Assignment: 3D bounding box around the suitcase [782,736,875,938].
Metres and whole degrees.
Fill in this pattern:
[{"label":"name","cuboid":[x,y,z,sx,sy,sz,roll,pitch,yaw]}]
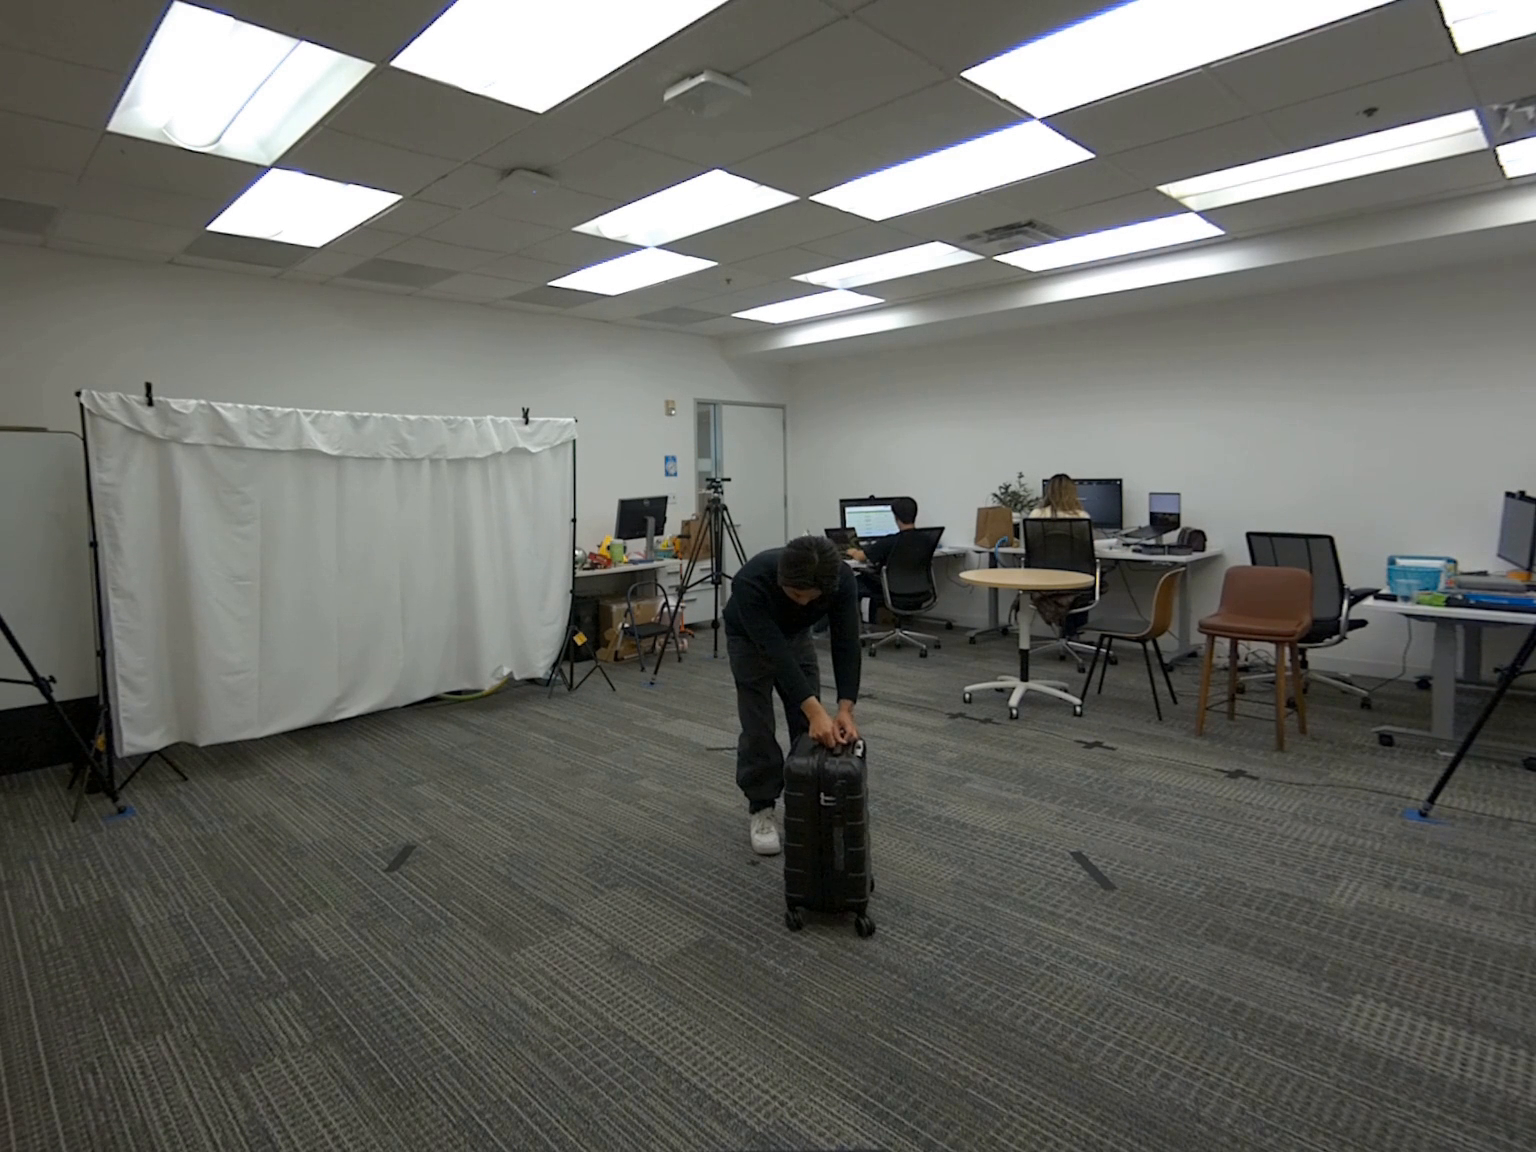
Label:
[{"label":"suitcase","cuboid":[0.205,0.806,2.767,0.251,0.548,0.373,-2,3,9]}]
